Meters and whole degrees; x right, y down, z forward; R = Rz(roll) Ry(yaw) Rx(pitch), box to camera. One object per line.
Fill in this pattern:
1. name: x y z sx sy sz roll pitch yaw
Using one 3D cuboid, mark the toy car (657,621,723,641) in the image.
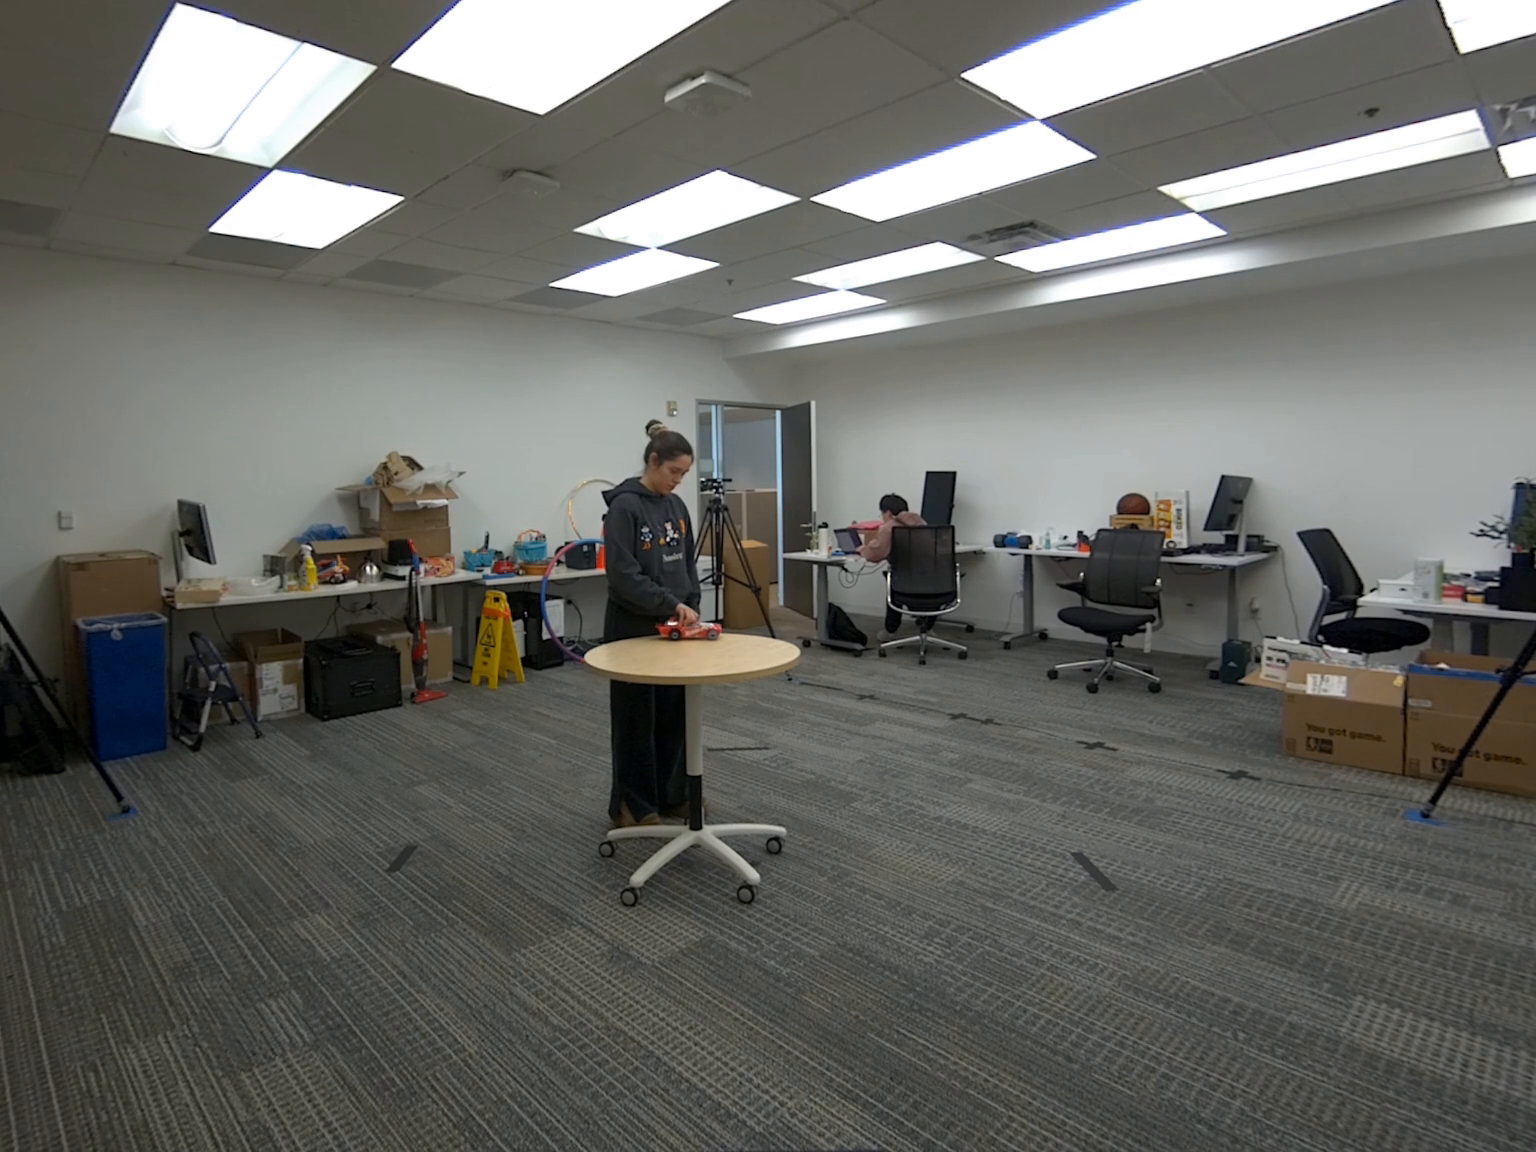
1. toy car: -0.308 0.214 3.298 0.254 0.083 0.131 5 4 -2
